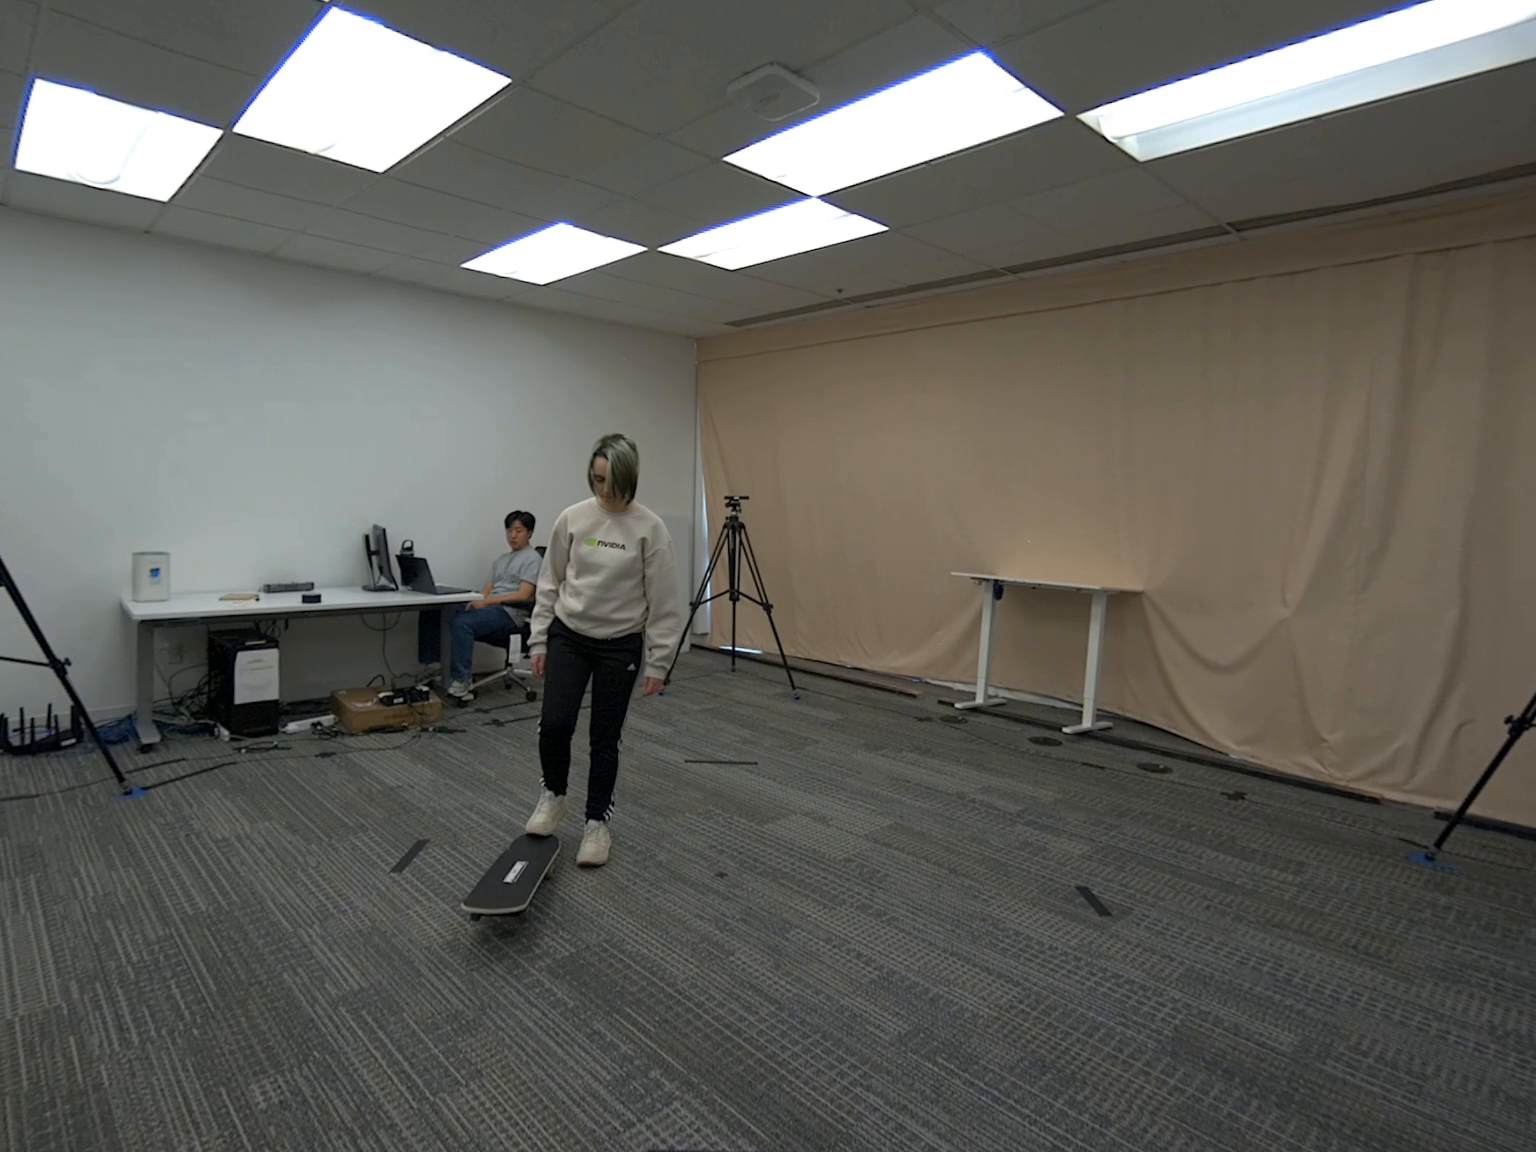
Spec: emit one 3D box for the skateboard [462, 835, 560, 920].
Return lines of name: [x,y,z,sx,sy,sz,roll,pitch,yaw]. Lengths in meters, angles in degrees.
skateboard: [-0.863,1.039,2.841,0.193,0.110,0.785,-1,-1,-2]
